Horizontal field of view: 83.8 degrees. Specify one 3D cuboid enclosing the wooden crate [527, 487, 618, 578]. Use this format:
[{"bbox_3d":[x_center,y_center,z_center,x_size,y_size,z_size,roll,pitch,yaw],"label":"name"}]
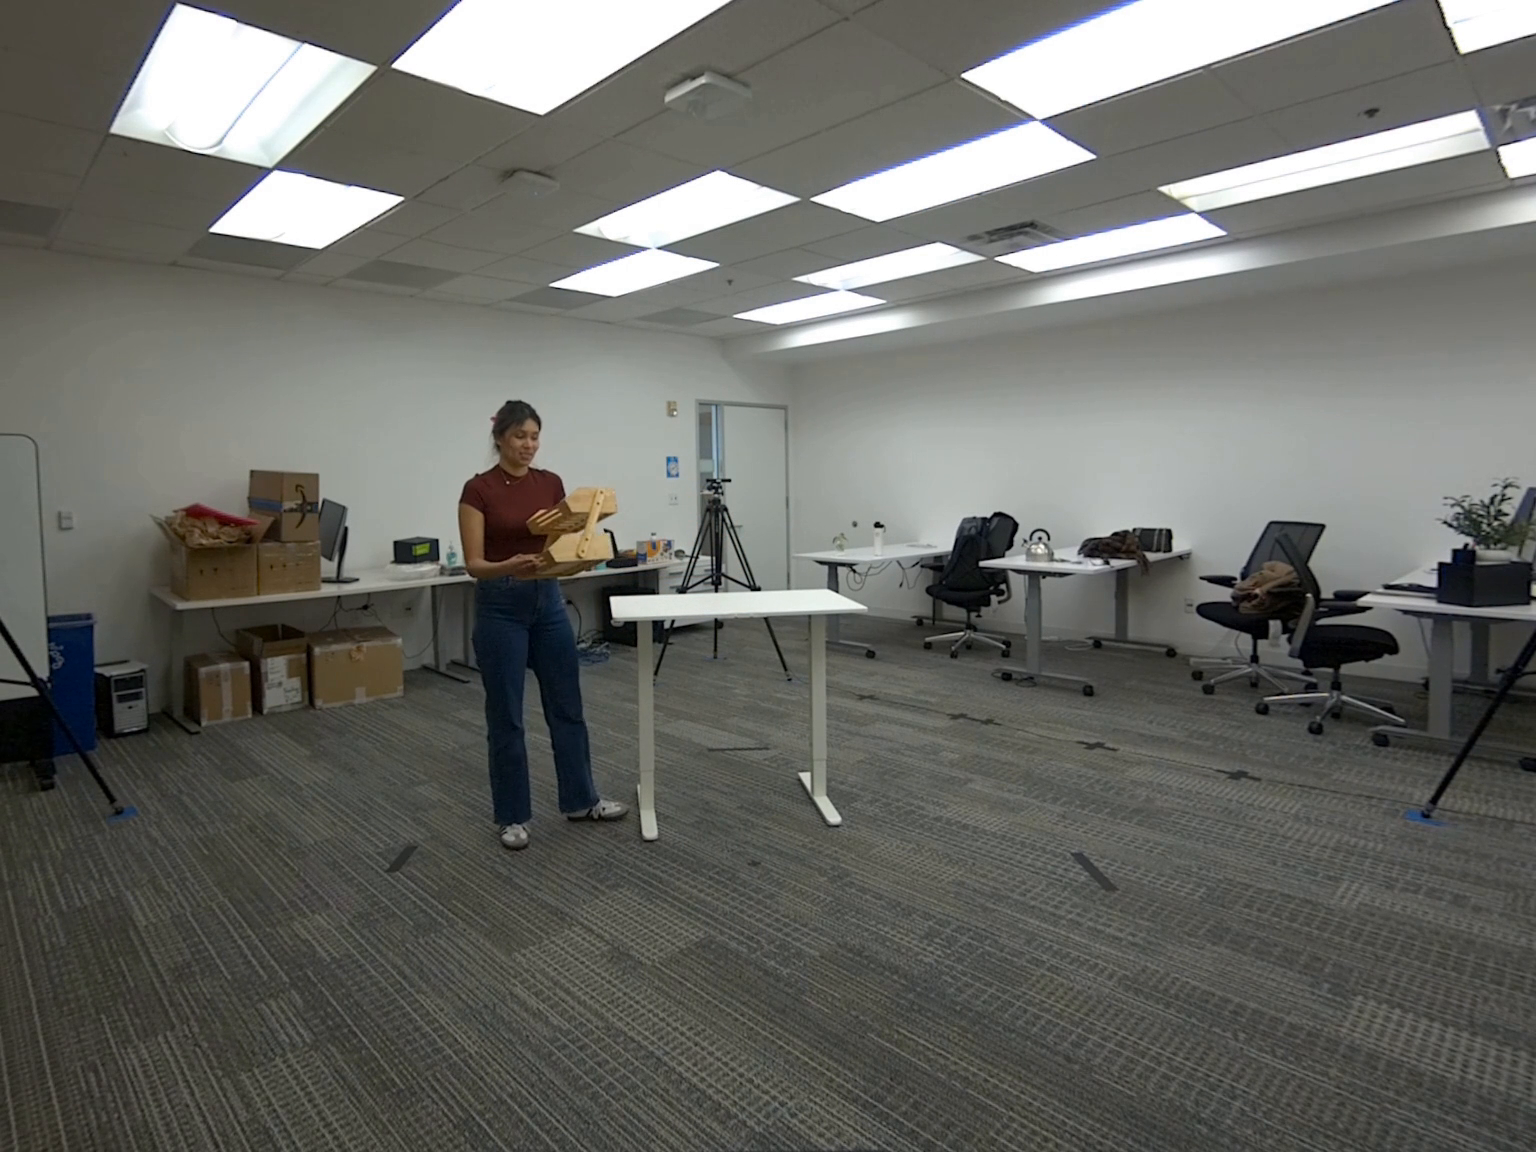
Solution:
[{"bbox_3d":[-0.738,-0.155,3.075,0.294,0.276,0.330,-4,-11,-41],"label":"wooden crate"}]
